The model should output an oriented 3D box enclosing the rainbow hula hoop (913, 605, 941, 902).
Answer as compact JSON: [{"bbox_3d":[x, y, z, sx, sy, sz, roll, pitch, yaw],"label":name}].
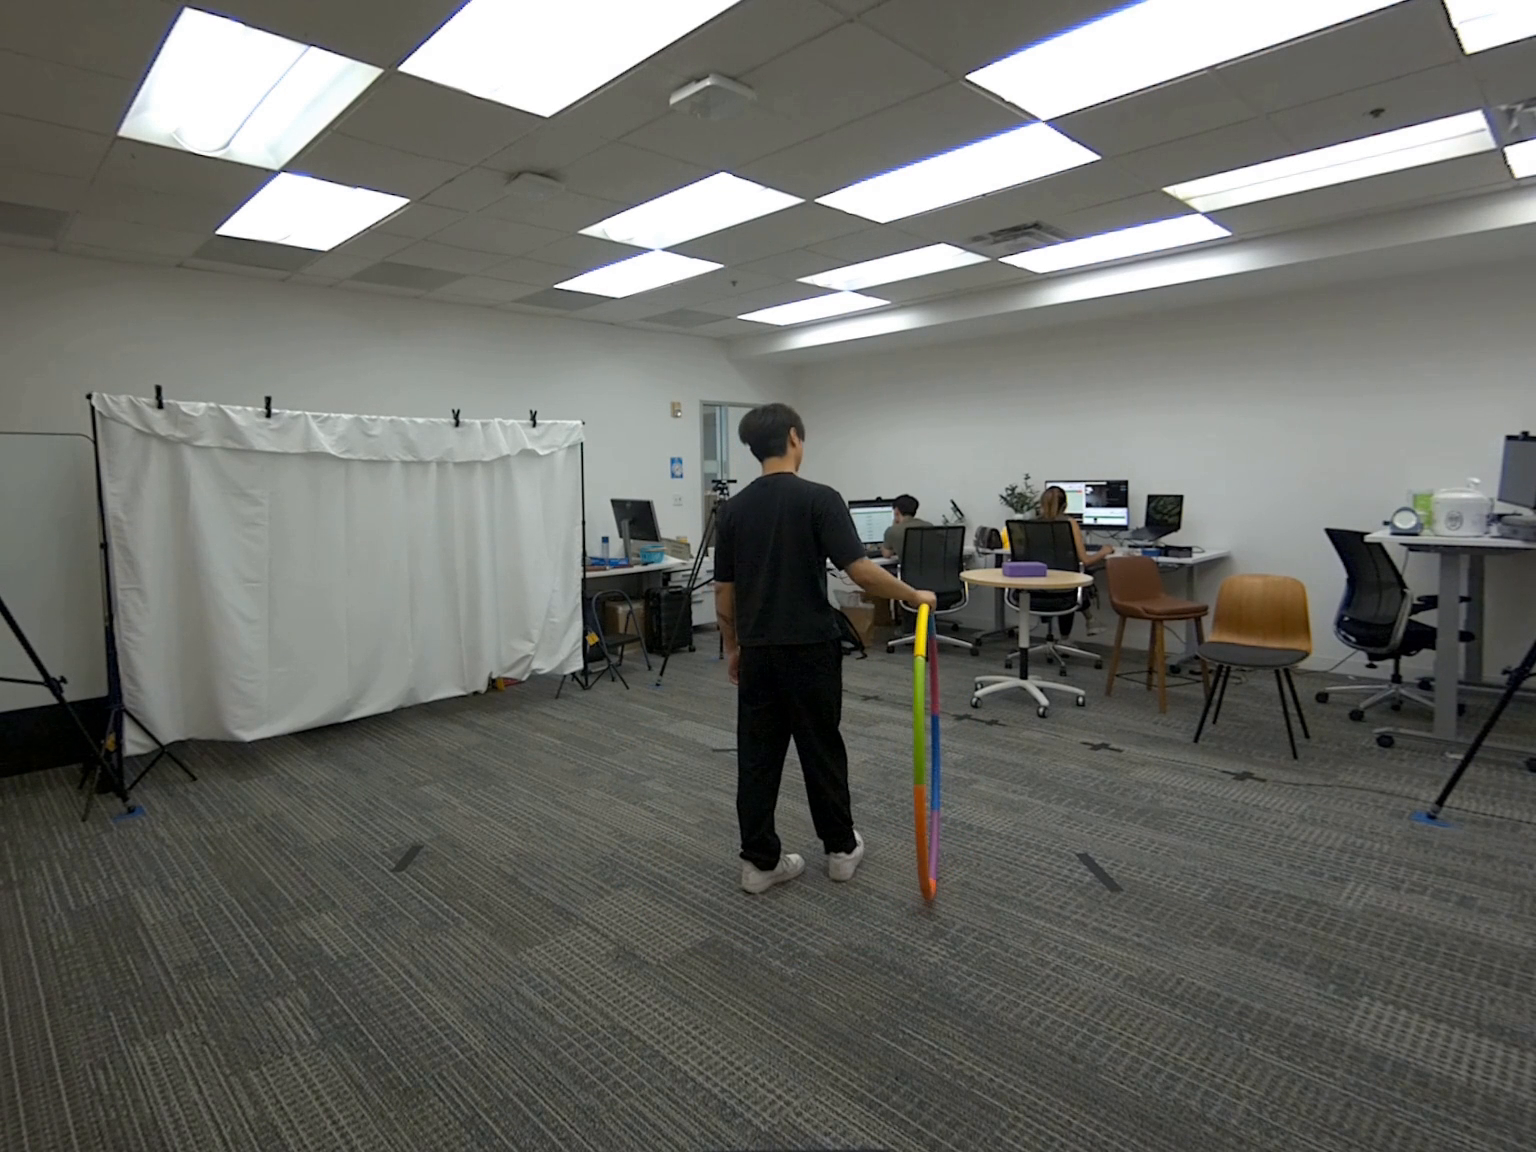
[{"bbox_3d":[0.544,0.573,2.906,0.036,0.975,0.969,-1,4,12],"label":"rainbow hula hoop"}]
